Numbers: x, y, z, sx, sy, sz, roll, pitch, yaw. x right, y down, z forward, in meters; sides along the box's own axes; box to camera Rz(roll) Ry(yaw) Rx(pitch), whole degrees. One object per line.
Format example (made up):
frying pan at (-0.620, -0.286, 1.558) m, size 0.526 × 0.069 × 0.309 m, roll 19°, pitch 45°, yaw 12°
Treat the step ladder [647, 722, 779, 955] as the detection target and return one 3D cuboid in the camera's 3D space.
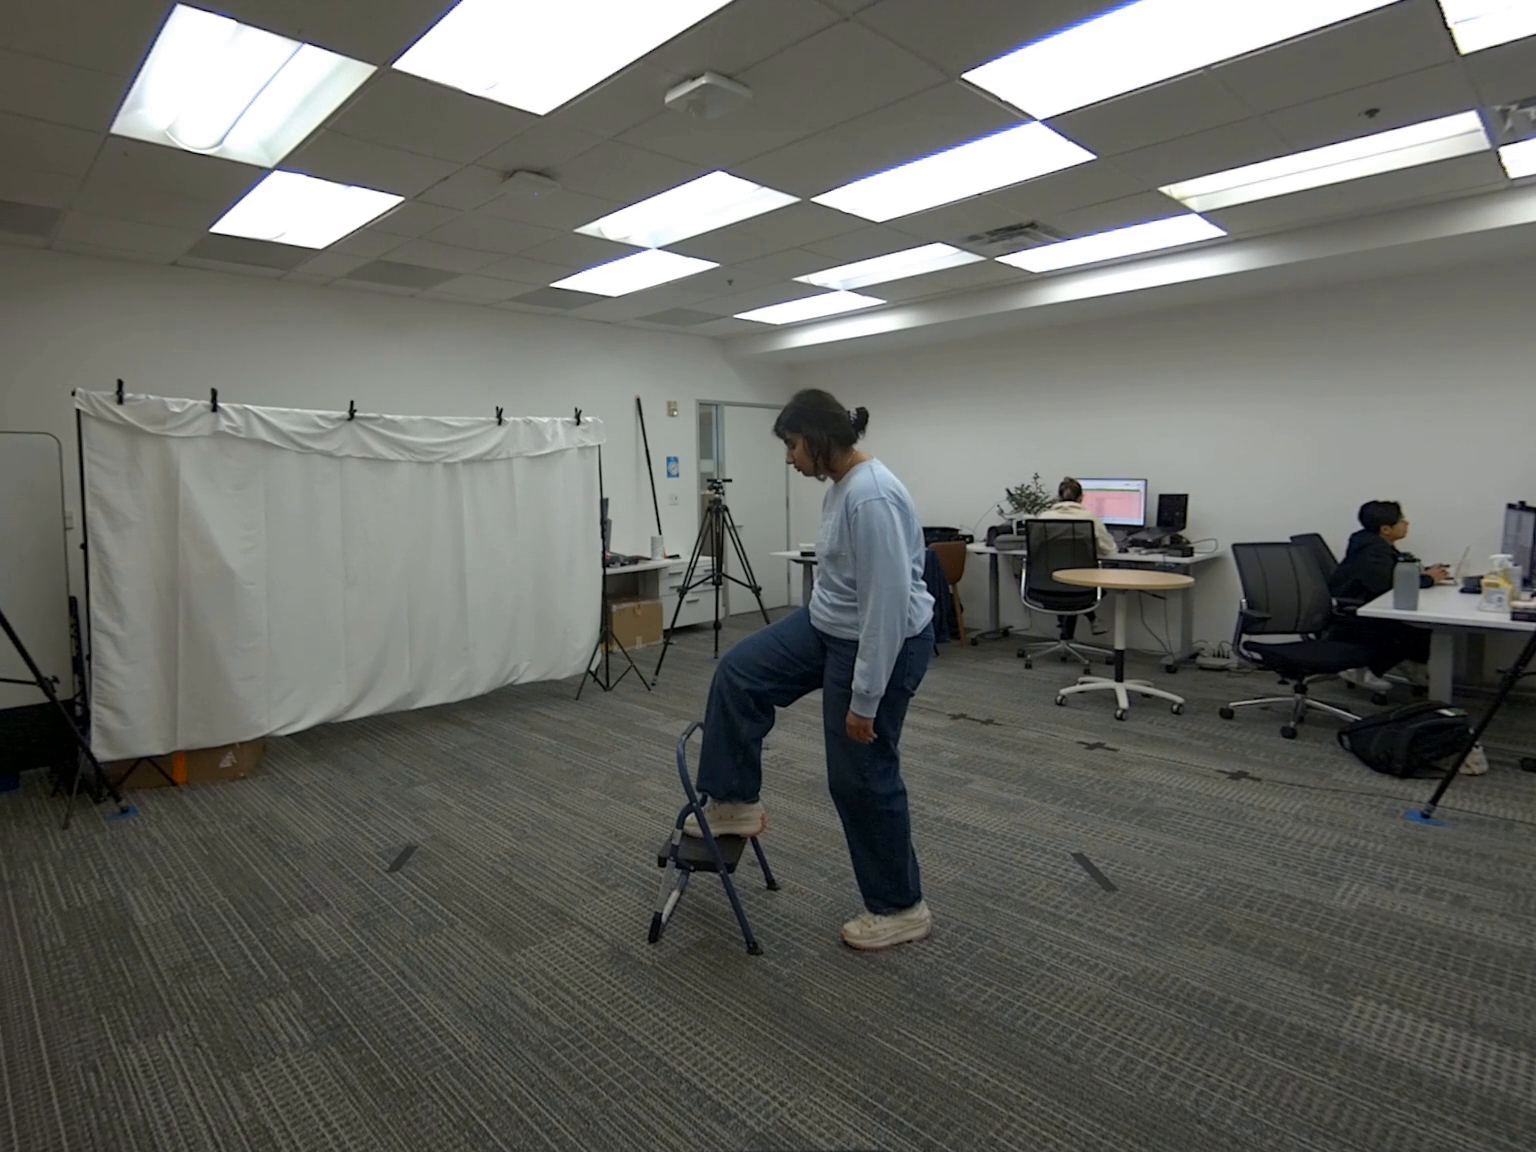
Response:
step ladder at (-0.167, 0.789, 2.736) m, size 0.353 × 0.604 × 0.428 m, roll -1°, pitch 5°, yaw 10°
